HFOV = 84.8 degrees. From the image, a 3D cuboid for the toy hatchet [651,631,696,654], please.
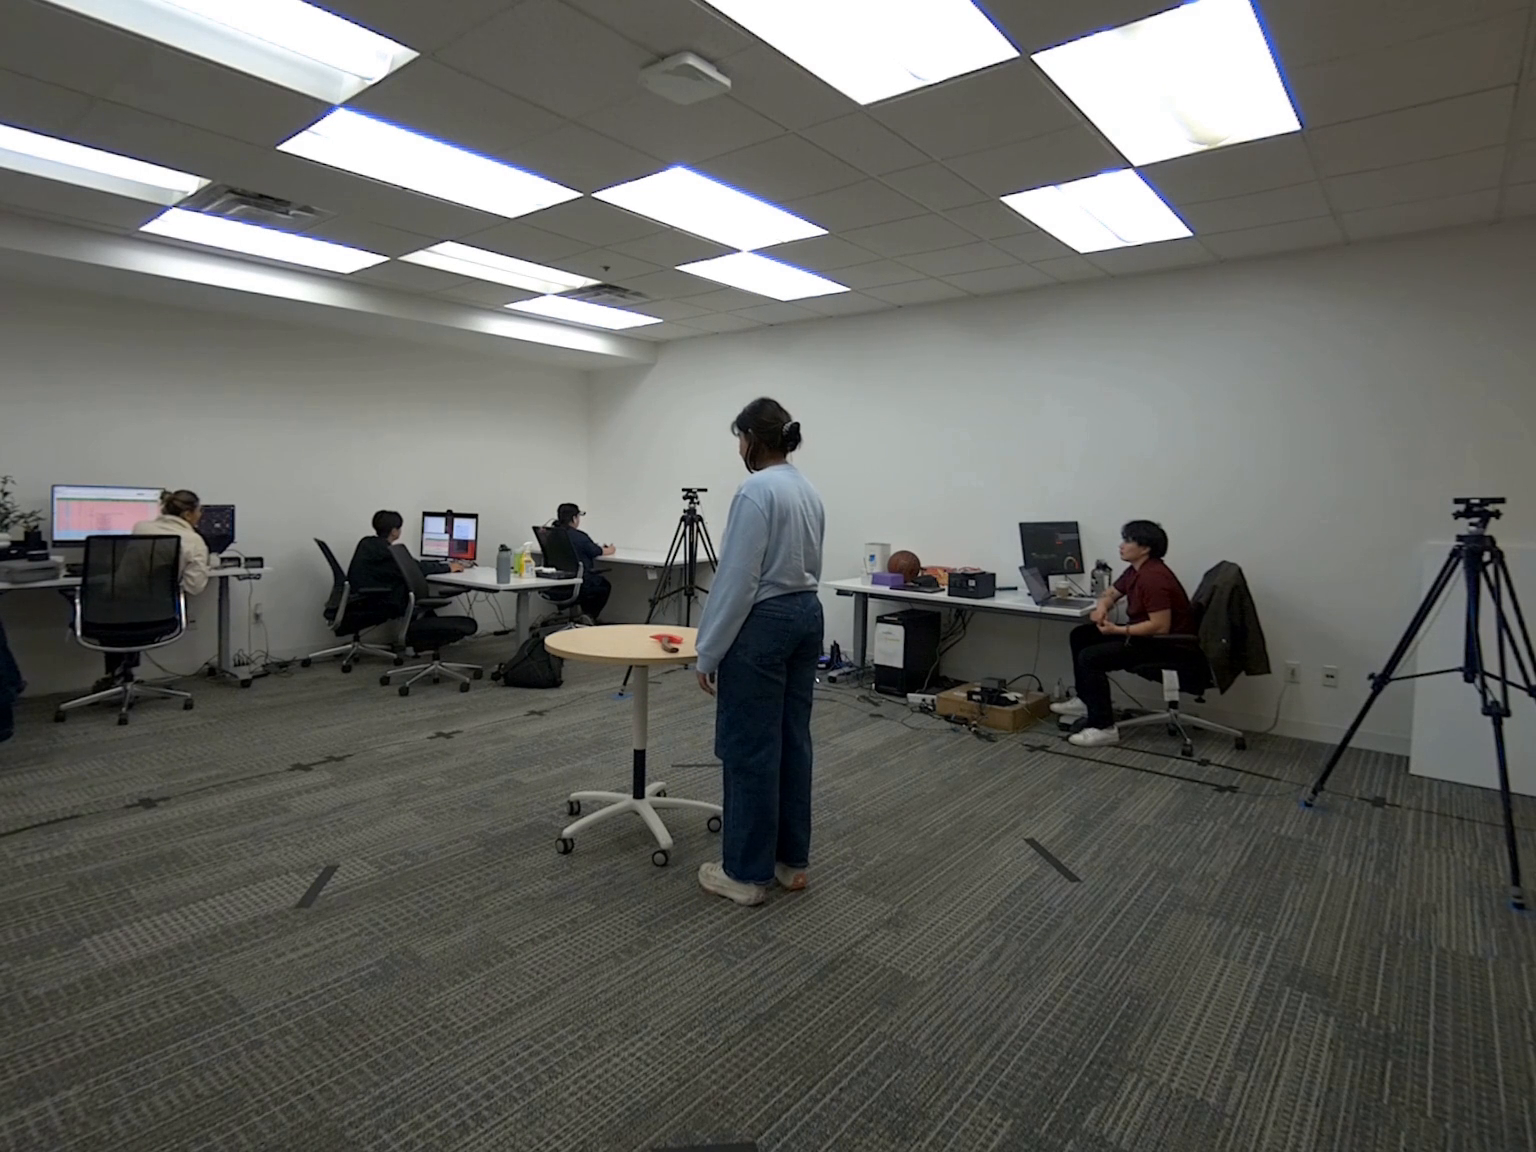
[{"bbox_3d":[-0.357,0.256,3.284,0.128,0.029,0.277,2,7,-23],"label":"toy hatchet"}]
